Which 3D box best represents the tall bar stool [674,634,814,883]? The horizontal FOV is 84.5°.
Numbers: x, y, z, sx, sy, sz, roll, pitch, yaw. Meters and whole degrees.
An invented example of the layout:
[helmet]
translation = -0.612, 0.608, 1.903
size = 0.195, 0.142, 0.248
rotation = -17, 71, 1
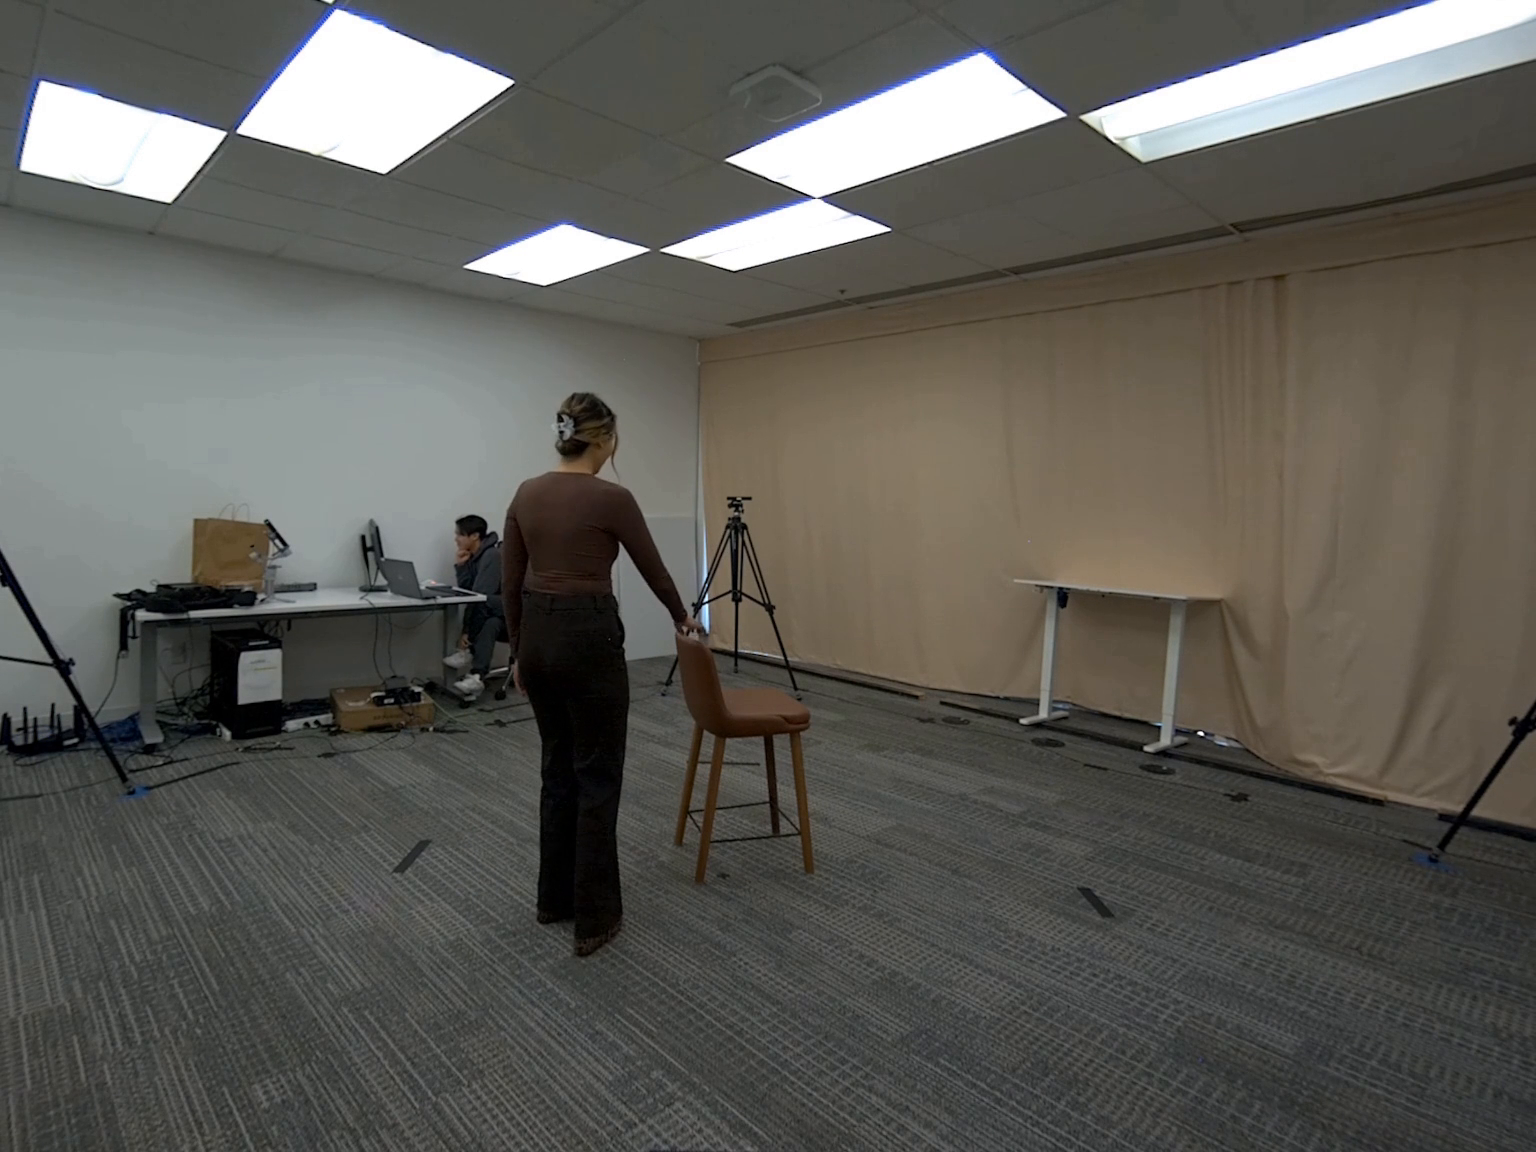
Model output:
[tall bar stool]
translation = -0.105, 0.659, 3.247
size = 0.461, 0.887, 0.464
rotation = -1, 4, -18
